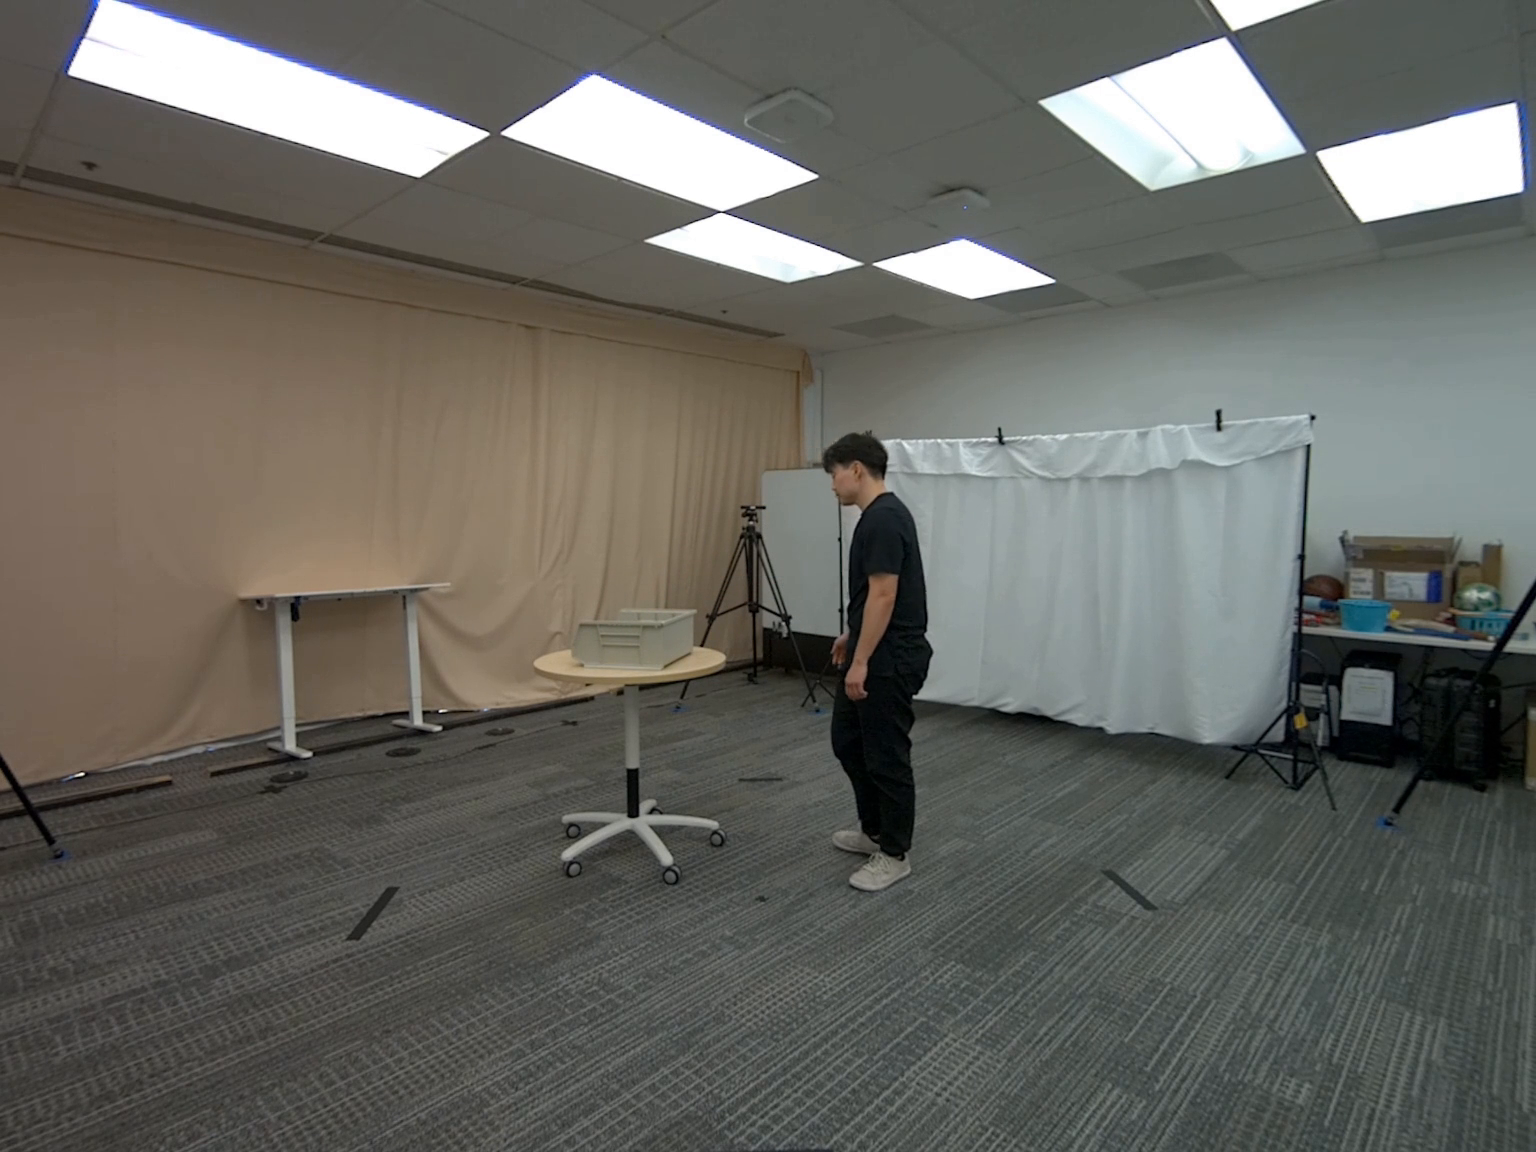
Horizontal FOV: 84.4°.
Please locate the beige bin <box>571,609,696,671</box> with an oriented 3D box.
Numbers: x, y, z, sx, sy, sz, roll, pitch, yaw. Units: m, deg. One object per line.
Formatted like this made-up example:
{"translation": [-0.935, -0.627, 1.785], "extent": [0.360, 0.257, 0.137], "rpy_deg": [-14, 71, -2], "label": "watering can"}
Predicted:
{"translation": [-0.522, 0.249, 3.357], "extent": [0.383, 0.188, 0.417], "rpy_deg": [1, 4, 13], "label": "beige bin"}
